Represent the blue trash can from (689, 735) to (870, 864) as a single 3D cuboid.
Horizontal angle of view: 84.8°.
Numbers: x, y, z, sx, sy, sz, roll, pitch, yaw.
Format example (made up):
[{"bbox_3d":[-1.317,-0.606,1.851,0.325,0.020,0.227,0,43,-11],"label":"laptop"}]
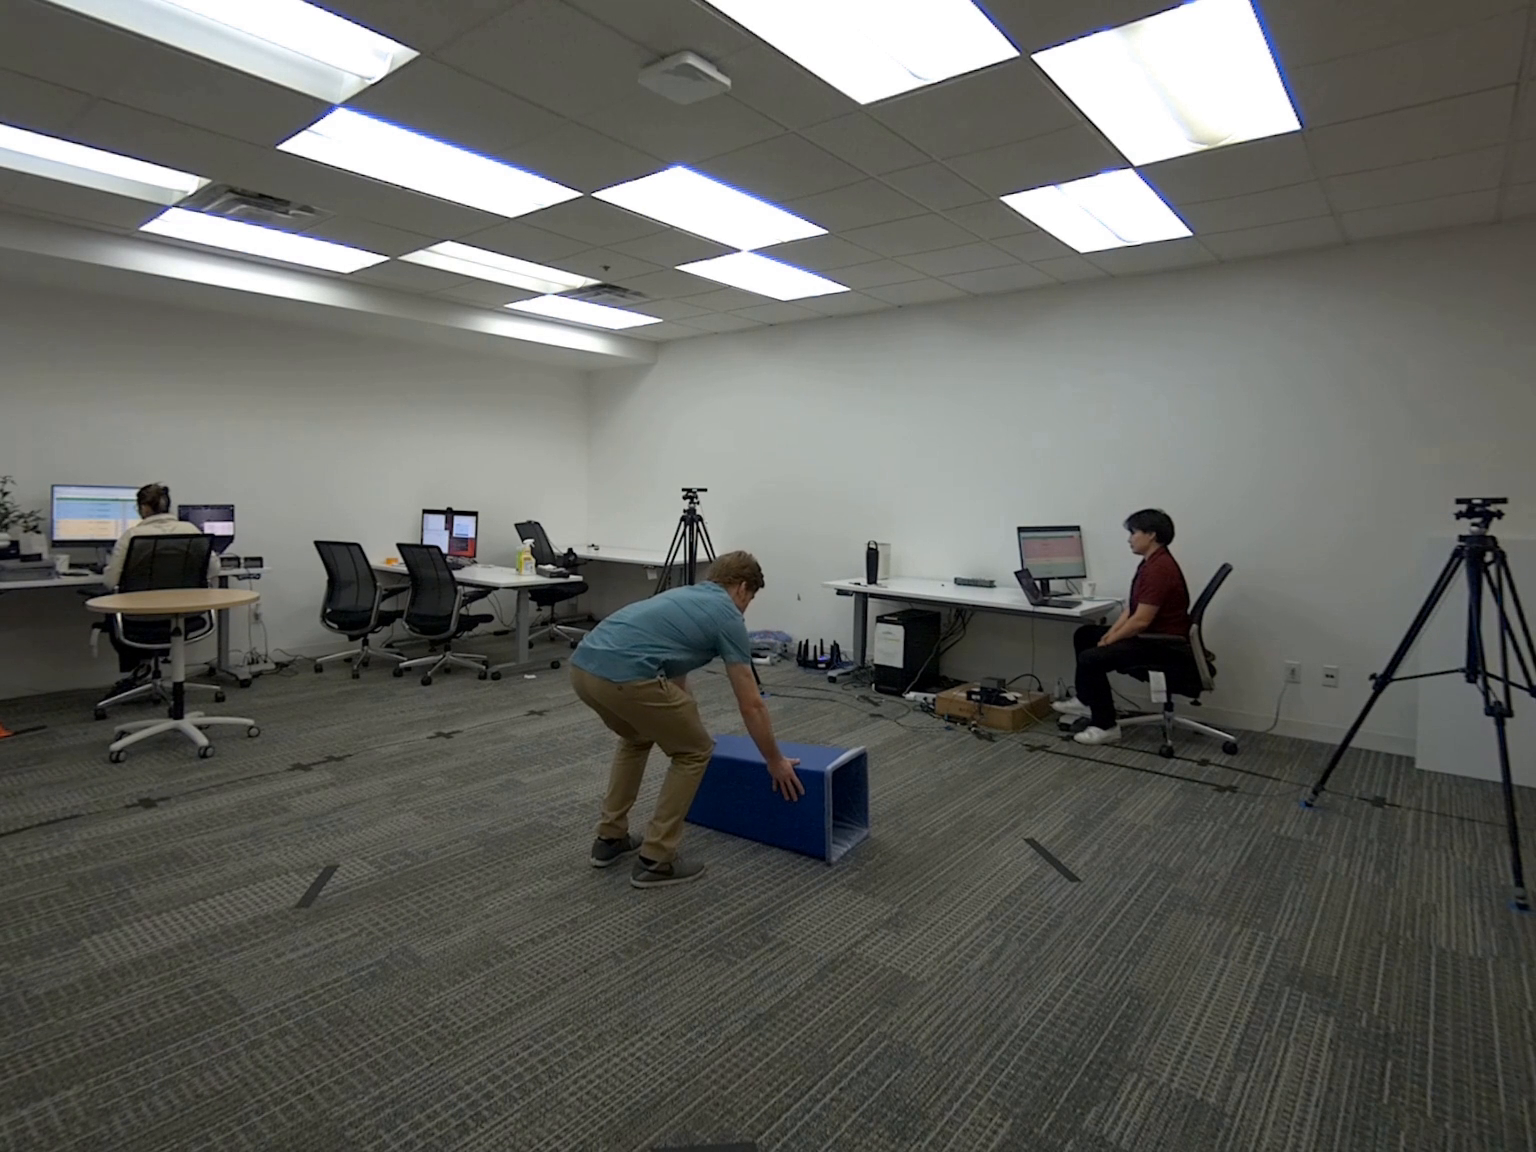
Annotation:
[{"bbox_3d":[0.003,0.874,3.483,0.734,0.377,0.364,1,4,32],"label":"blue trash can"}]
